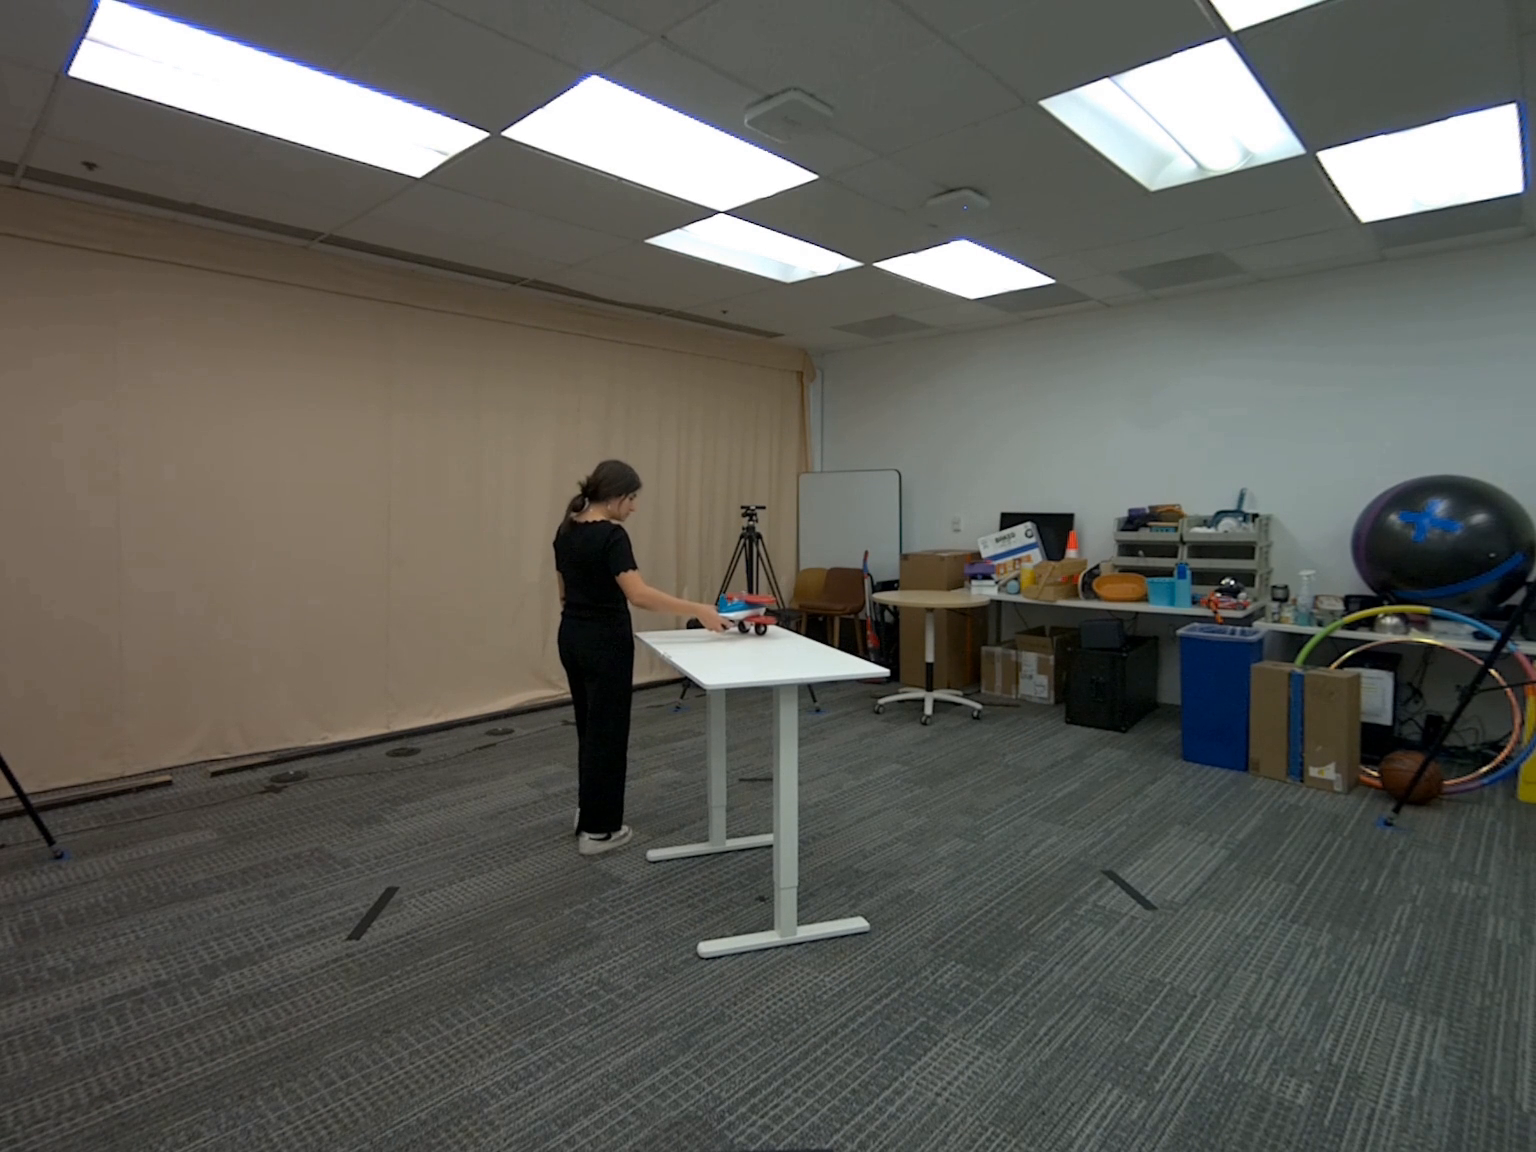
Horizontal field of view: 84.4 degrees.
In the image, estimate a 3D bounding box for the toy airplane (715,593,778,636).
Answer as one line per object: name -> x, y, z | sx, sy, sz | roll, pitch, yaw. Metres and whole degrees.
toy airplane -> -0.091, 0.144, 3.263 | 0.255, 0.157, 0.254 | 6, -5, 13
